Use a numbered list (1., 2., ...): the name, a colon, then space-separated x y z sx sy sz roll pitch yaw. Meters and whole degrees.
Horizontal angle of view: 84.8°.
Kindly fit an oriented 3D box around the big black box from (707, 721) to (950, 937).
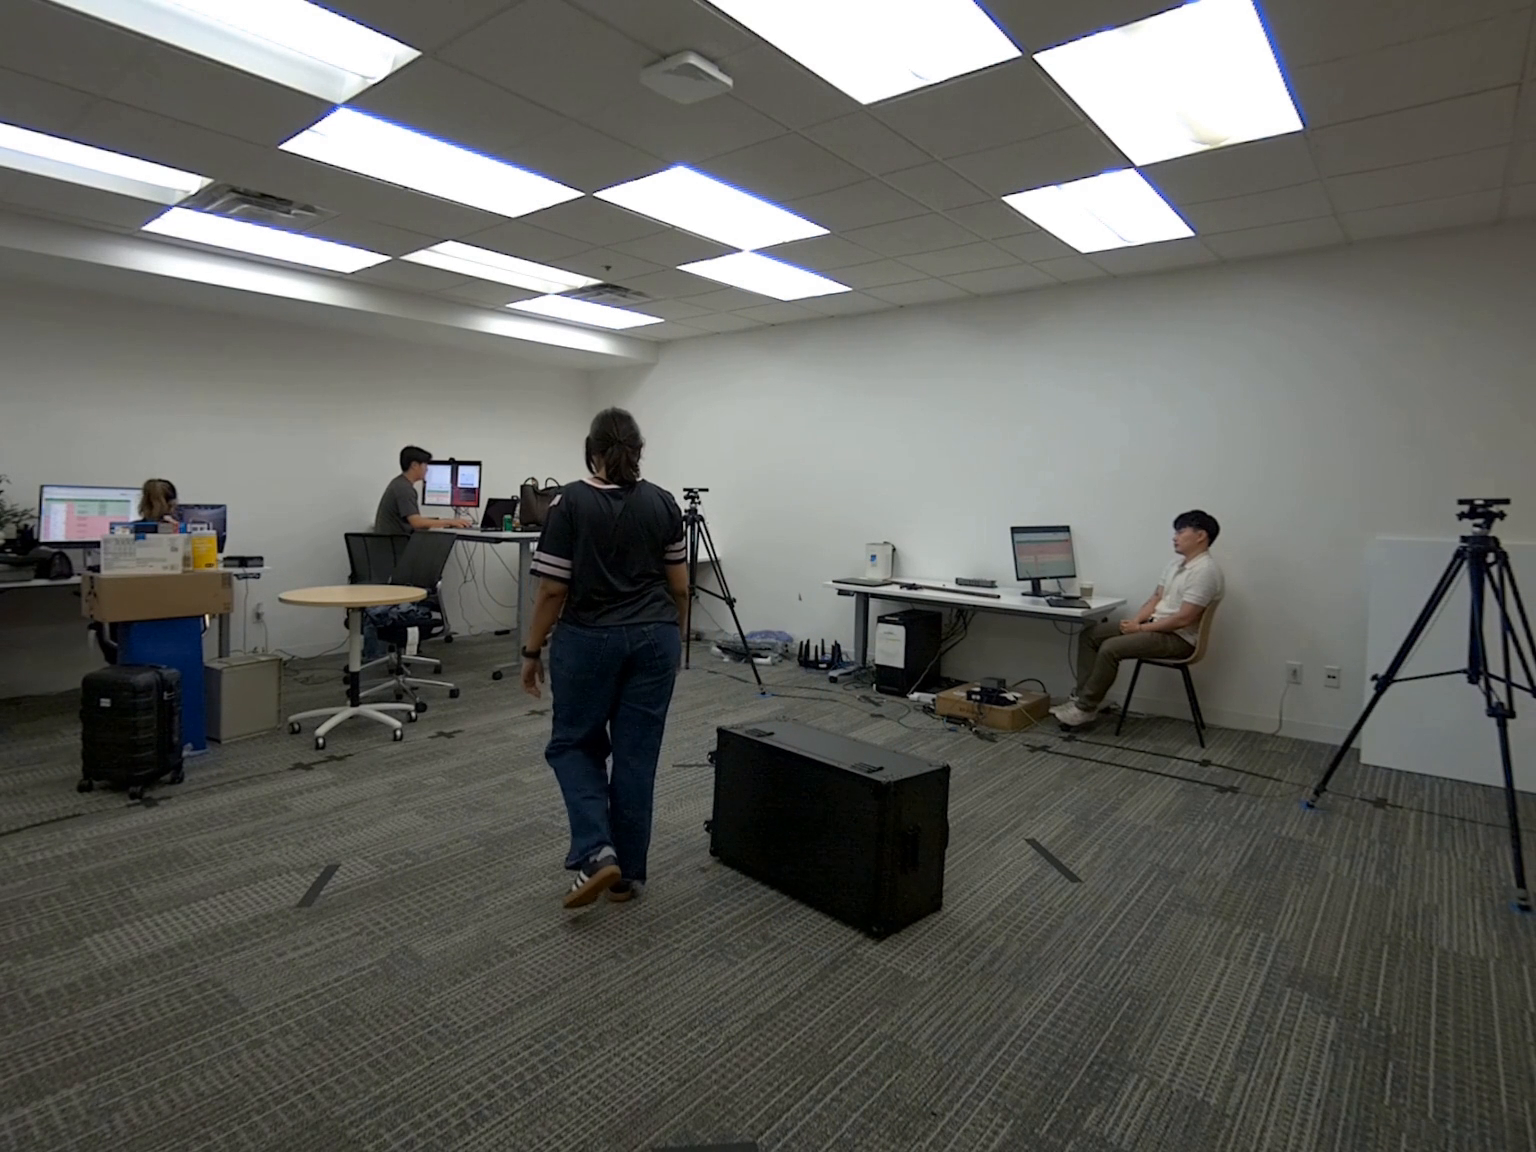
1. big black box: 0.165 0.828 3.048 0.373 0.522 0.898 -1 5 -44
